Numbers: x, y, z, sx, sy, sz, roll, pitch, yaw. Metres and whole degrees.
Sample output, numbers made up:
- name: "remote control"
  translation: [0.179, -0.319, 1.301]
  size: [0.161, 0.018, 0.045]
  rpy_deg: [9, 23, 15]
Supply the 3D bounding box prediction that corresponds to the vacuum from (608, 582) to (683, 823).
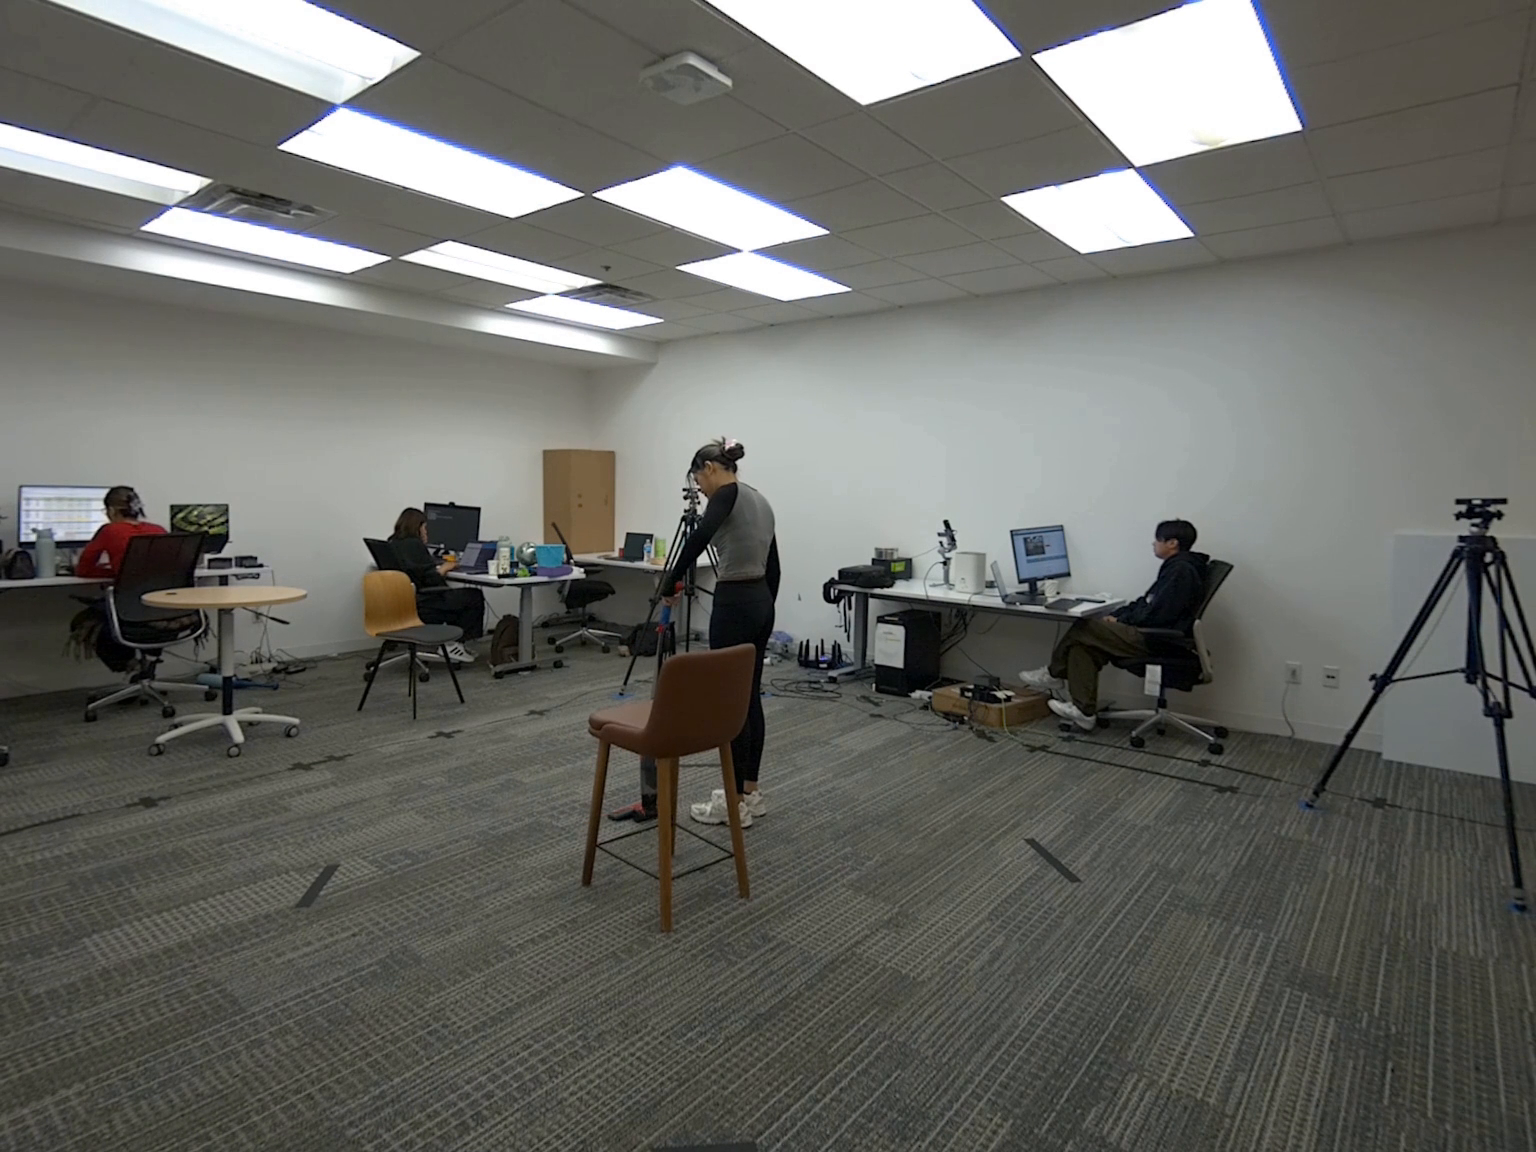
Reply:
- name: "vacuum"
  translation: [-0.459, 0.533, 3.488]
  size: [0.149, 1.038, 0.246]
  rpy_deg: [21, 17, 34]
